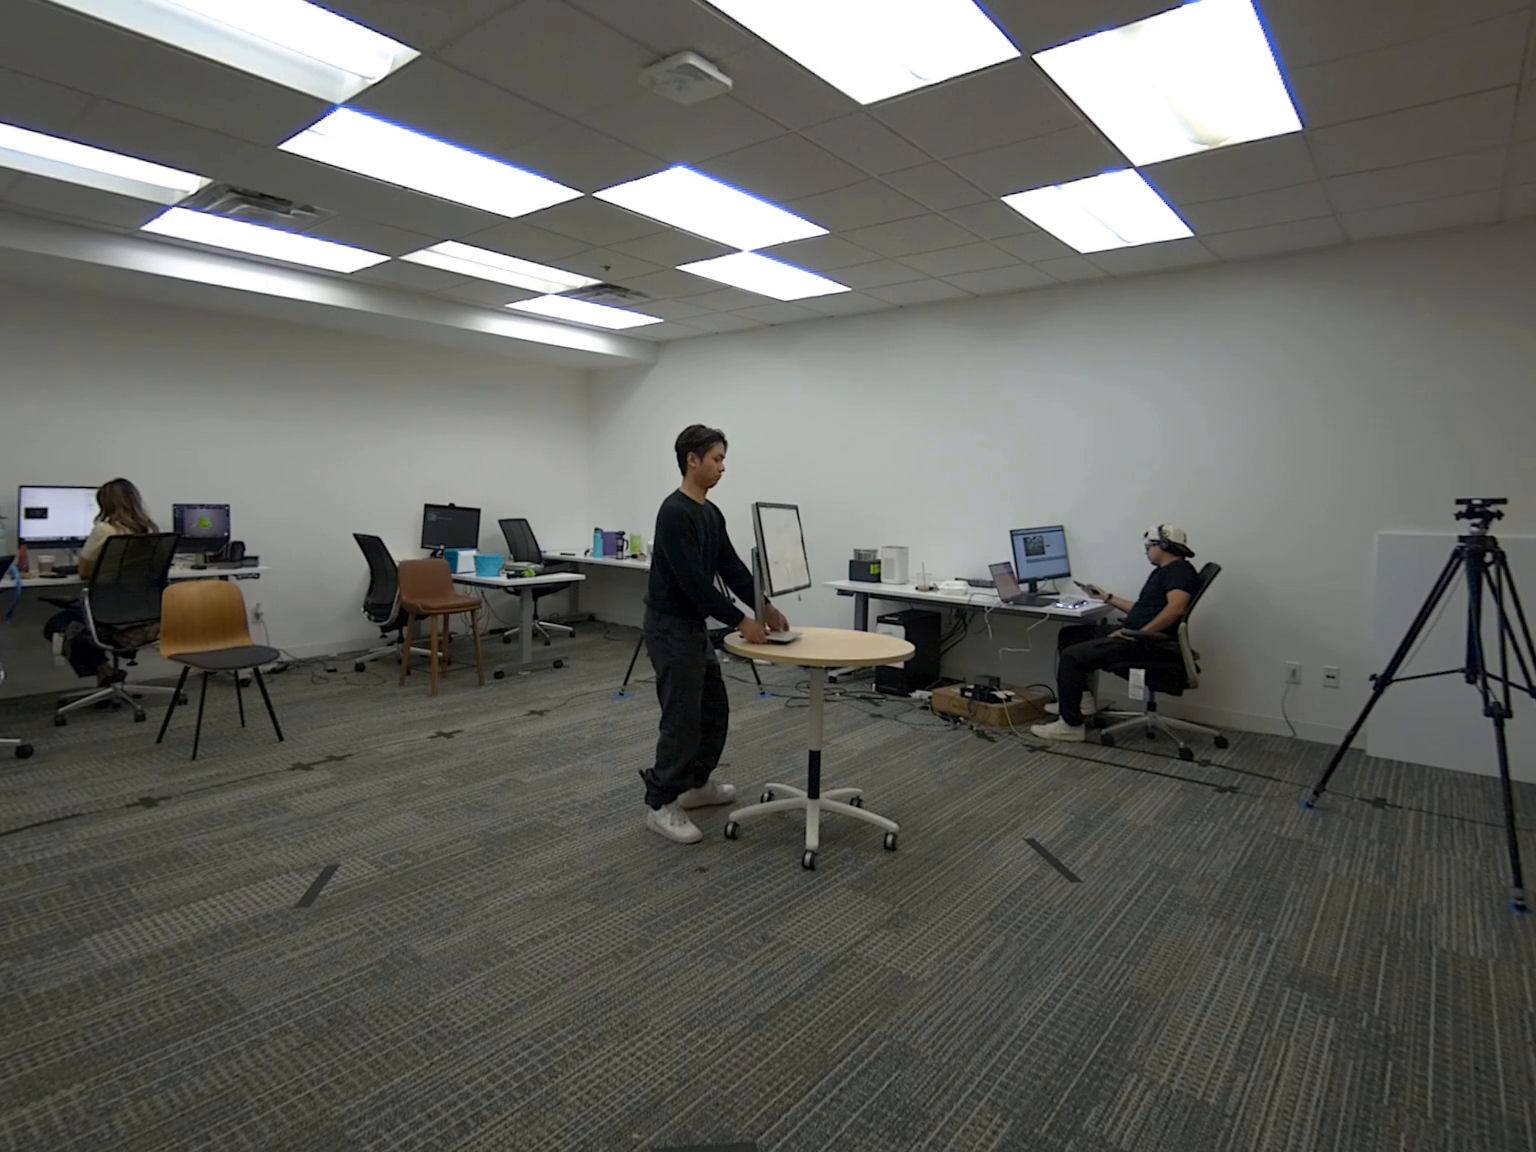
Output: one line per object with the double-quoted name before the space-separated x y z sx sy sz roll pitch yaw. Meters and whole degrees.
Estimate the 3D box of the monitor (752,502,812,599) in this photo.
"monitor" 0.017 -0.023 3.461 0.191 0.521 0.529 3 3 18
